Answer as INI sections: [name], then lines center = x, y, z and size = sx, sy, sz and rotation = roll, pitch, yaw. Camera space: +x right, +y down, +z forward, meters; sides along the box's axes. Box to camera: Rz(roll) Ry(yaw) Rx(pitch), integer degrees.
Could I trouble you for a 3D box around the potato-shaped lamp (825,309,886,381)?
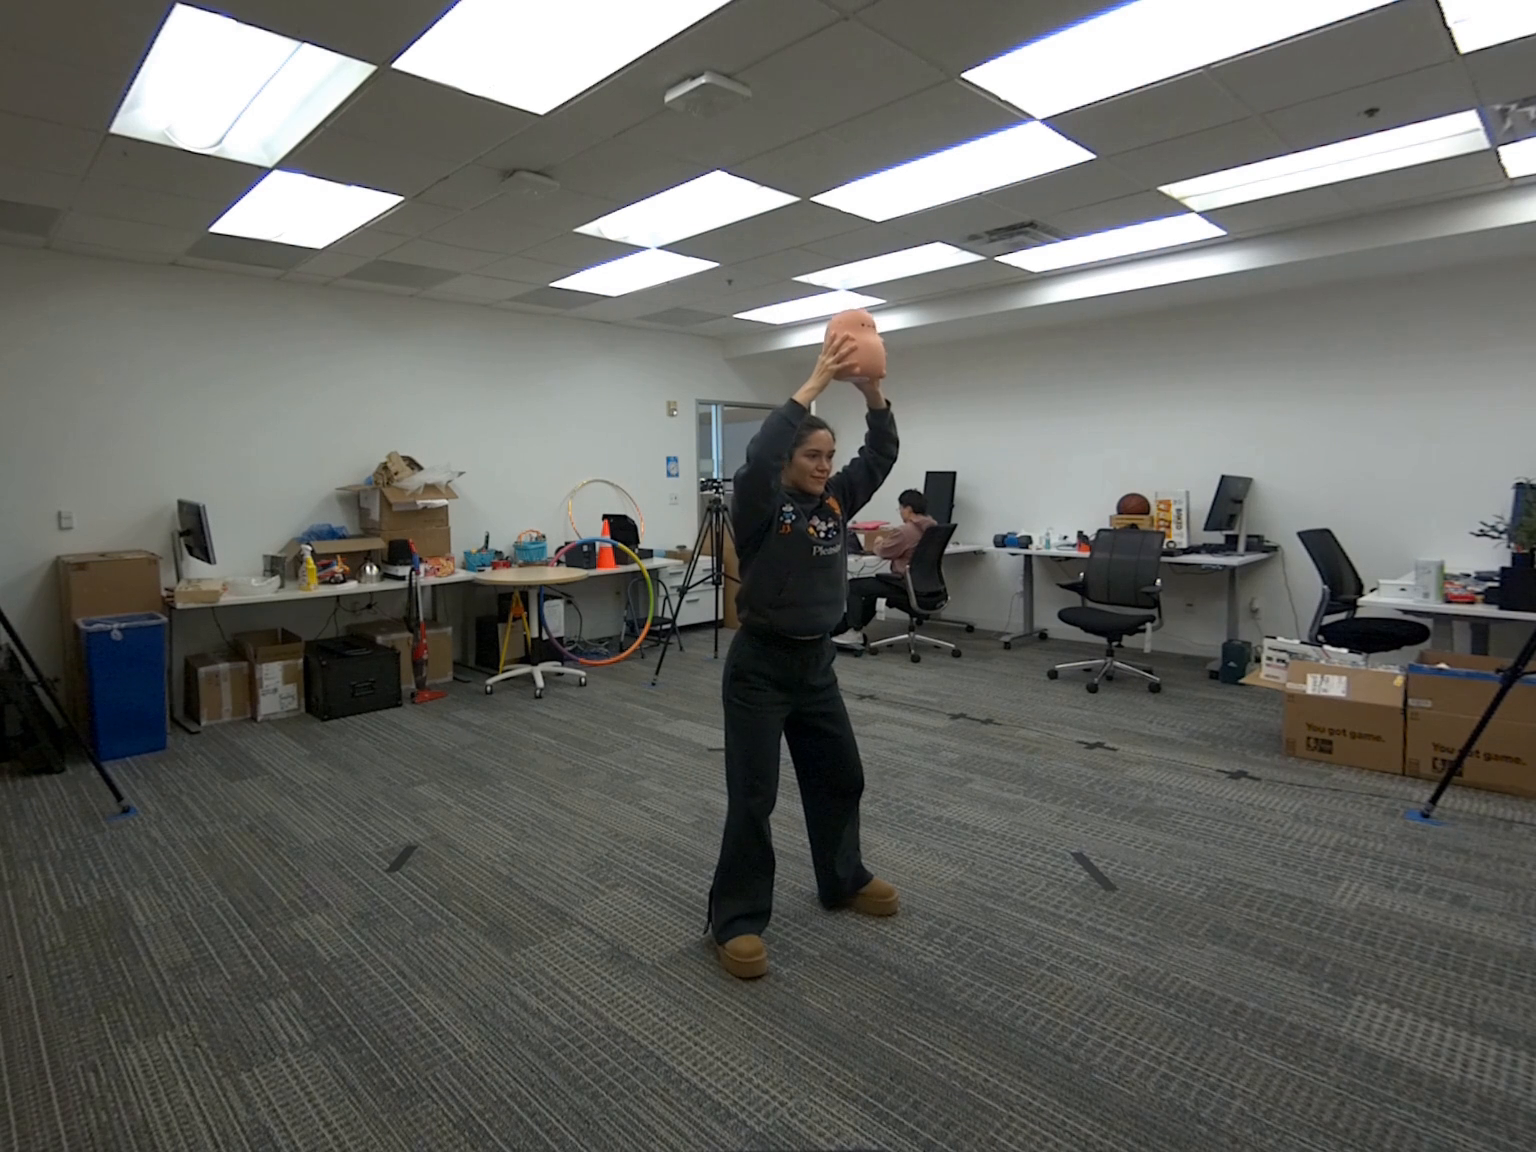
[potato-shaped lamp]
center = 0.236, -0.633, 2.331
size = 0.160, 0.197, 0.176
rotation = -2, 4, -38
